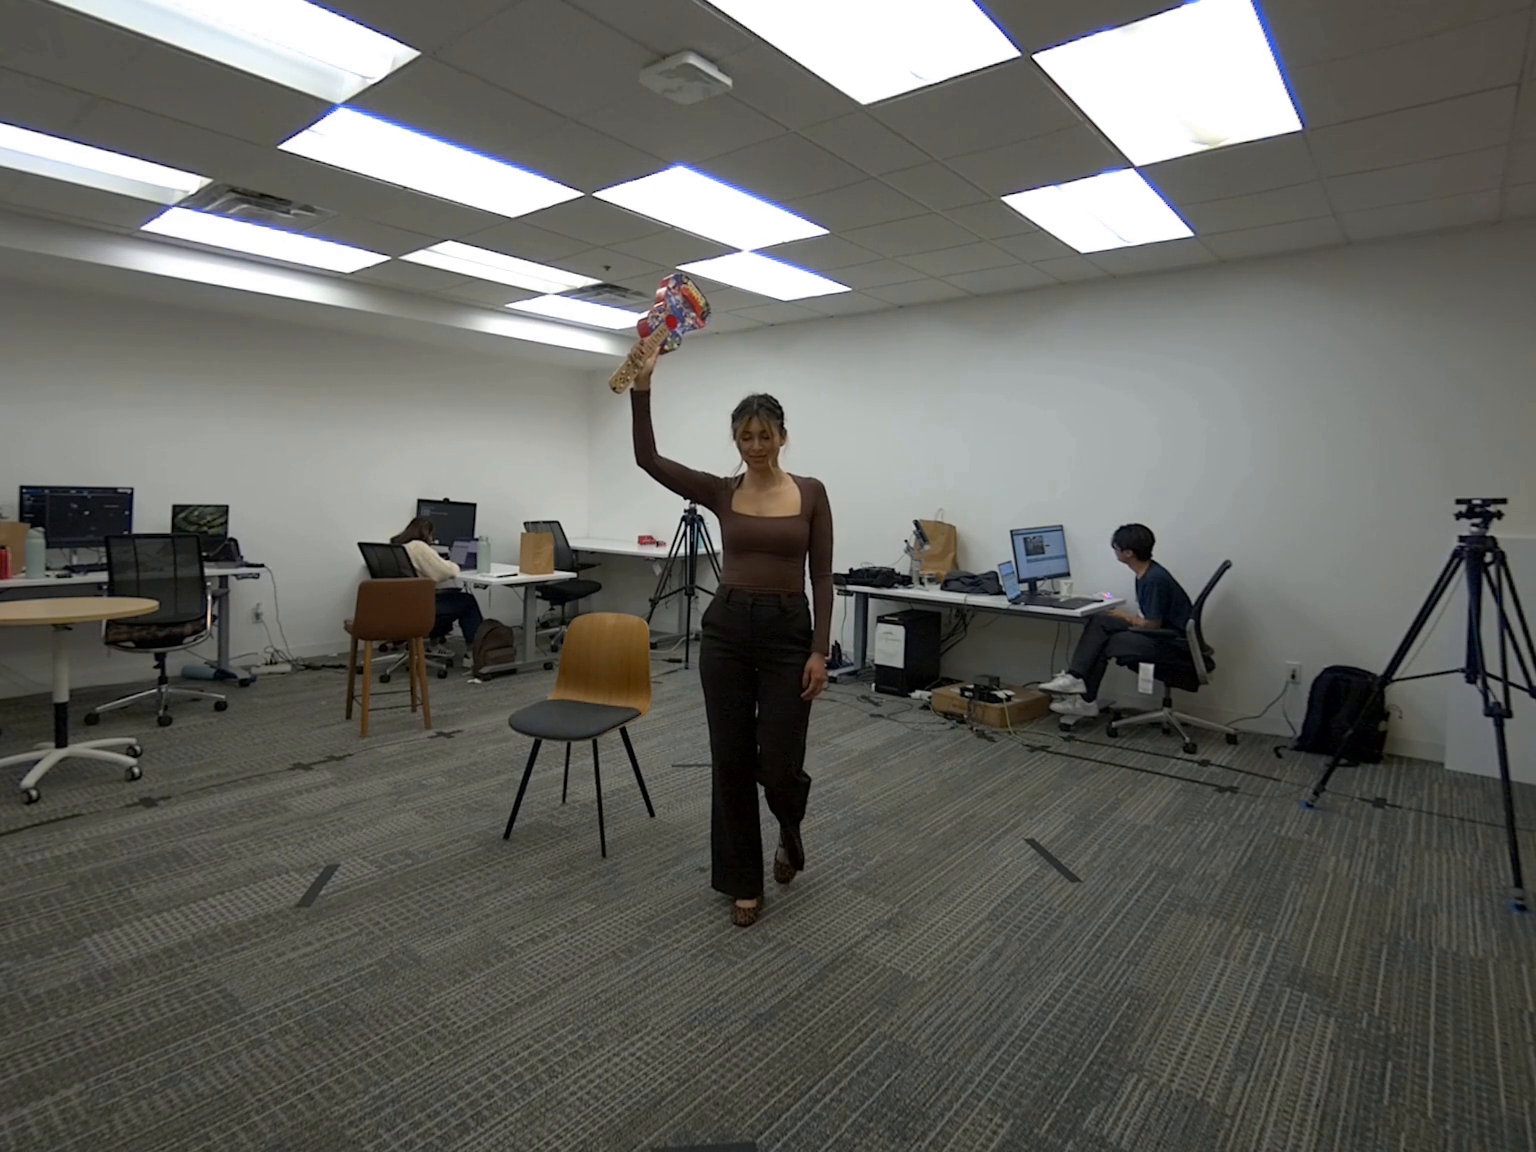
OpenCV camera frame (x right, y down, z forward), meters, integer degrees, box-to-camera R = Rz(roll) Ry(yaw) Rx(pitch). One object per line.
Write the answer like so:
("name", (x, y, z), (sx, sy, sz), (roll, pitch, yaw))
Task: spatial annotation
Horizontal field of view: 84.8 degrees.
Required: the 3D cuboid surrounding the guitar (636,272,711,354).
("guitar", (-0.383, -0.771, 2.673), (0.073, 0.187, 0.497), (-4, 37, 51))
